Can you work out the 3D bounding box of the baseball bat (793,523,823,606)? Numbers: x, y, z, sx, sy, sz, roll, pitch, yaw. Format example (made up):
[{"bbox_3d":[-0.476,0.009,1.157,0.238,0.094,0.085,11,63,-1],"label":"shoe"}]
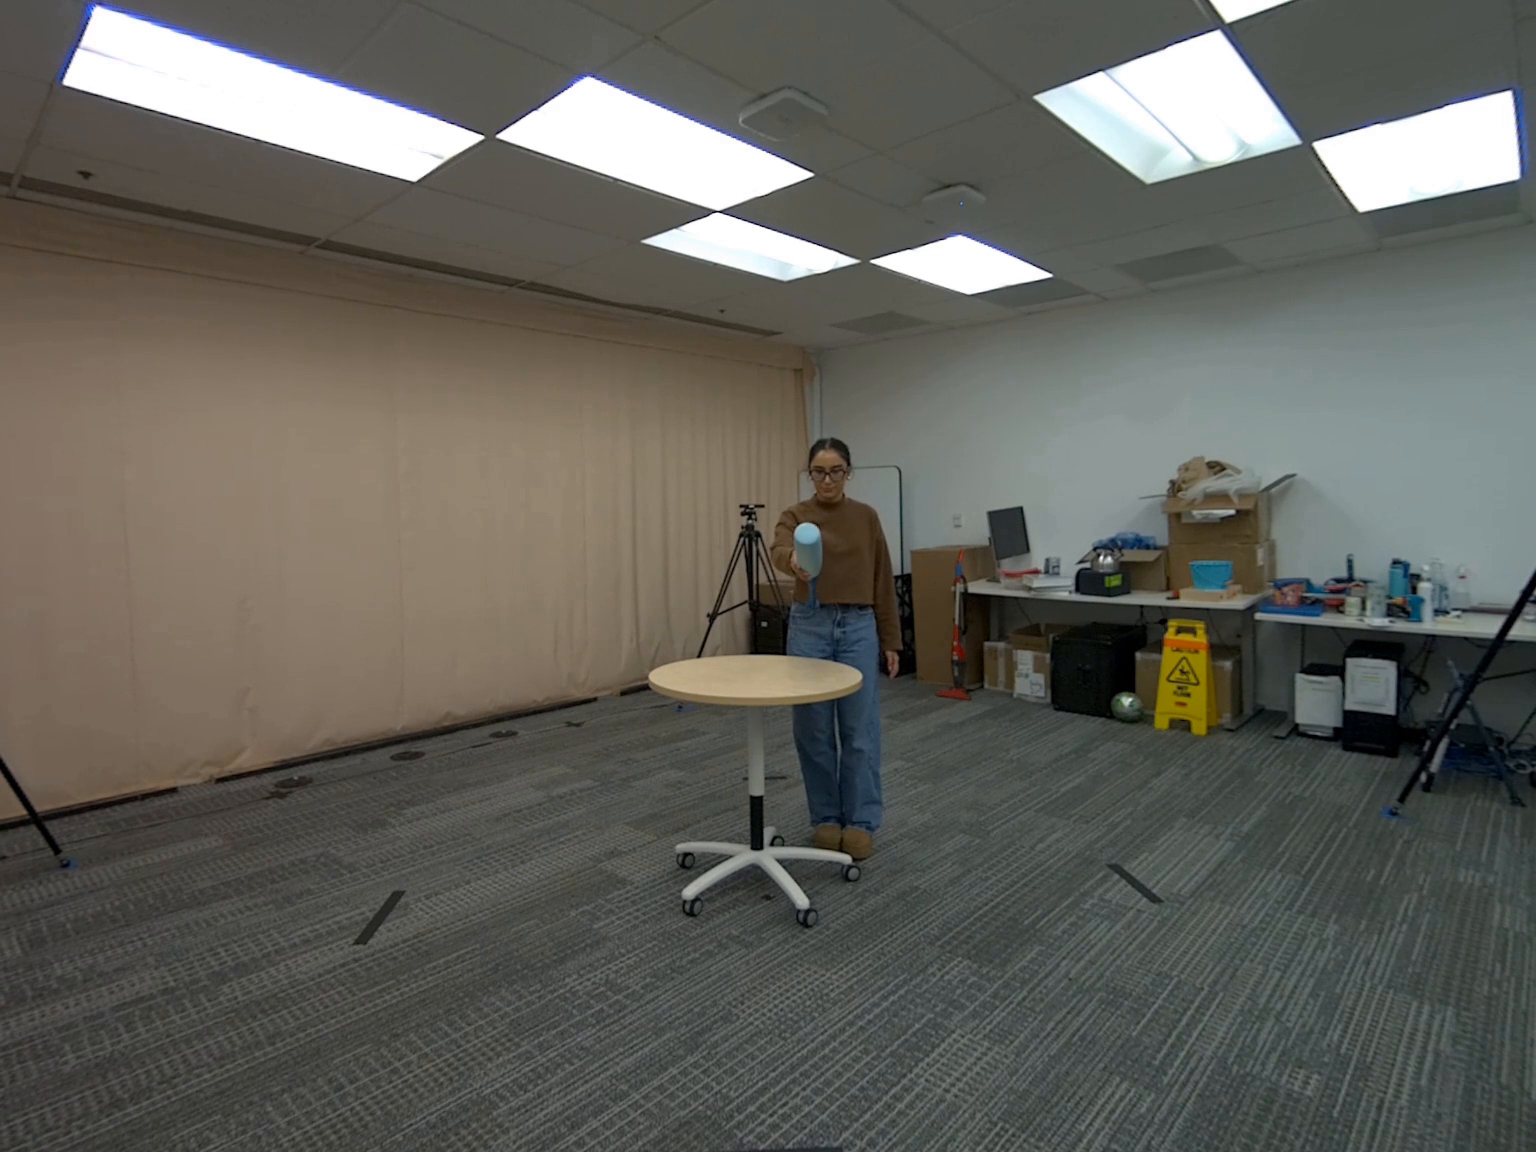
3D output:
[{"bbox_3d":[0.141,-0.007,2.901,0.089,0.090,0.532,0,-28,3],"label":"baseball bat"}]
